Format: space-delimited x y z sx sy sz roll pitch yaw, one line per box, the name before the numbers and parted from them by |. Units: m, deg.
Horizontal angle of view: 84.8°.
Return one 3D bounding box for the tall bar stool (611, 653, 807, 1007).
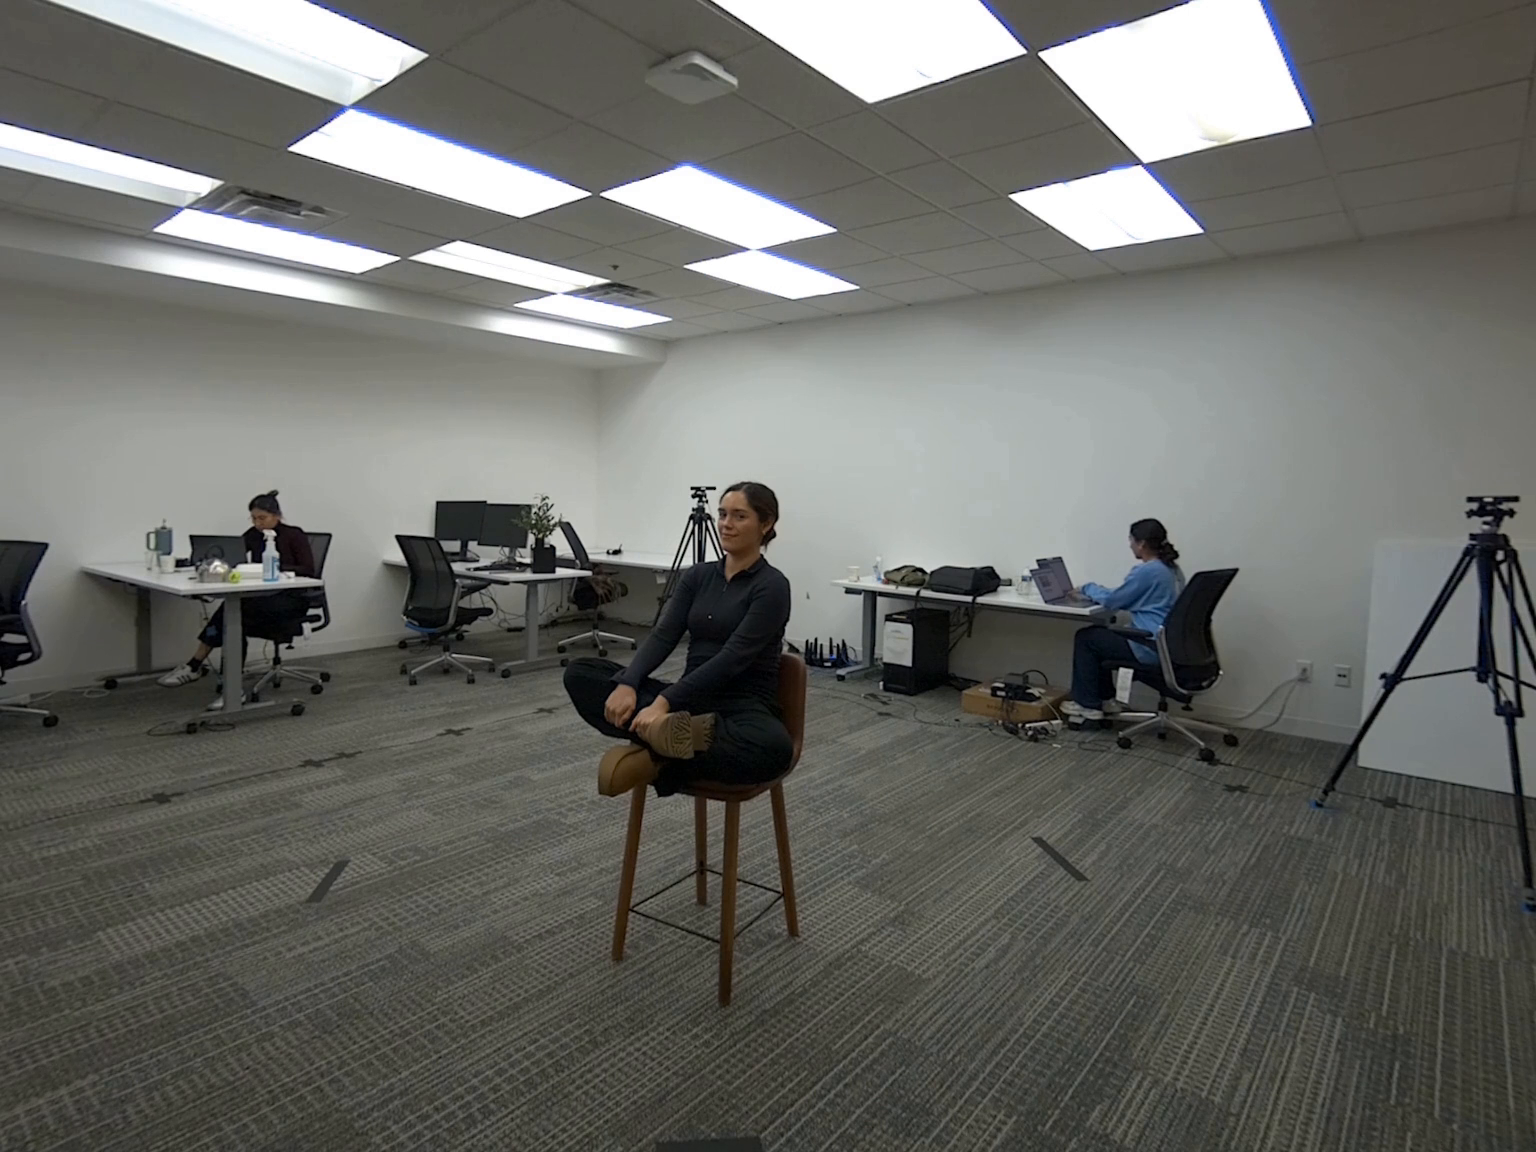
tall bar stool | -0.168 0.687 2.556 0.470 0.888 0.454 4 2 32
